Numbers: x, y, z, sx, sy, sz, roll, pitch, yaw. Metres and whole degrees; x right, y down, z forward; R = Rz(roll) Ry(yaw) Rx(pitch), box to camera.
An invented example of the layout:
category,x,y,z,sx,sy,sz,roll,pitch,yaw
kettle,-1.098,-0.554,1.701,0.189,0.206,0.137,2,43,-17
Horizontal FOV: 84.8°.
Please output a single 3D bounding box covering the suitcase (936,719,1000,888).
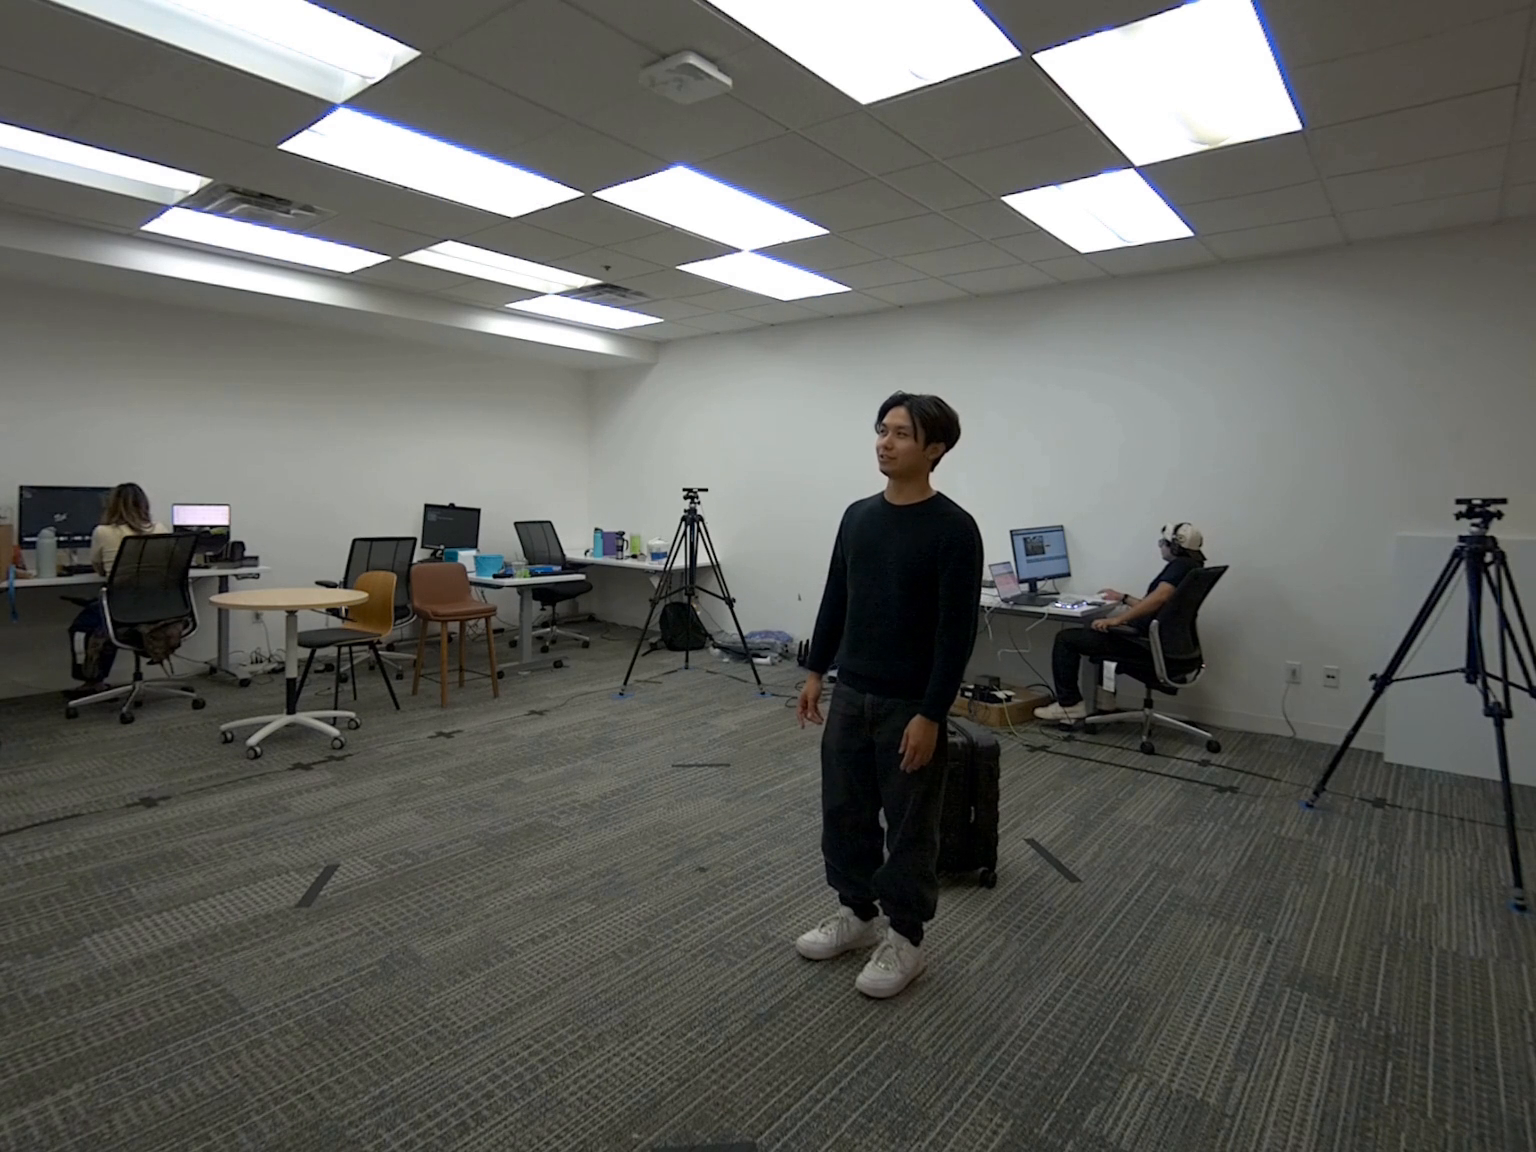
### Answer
category,x,y,z,sx,sy,sz,roll,pitch,yaw
suitcase,0.677,0.809,3.169,0.246,0.548,0.380,2,3,-10
